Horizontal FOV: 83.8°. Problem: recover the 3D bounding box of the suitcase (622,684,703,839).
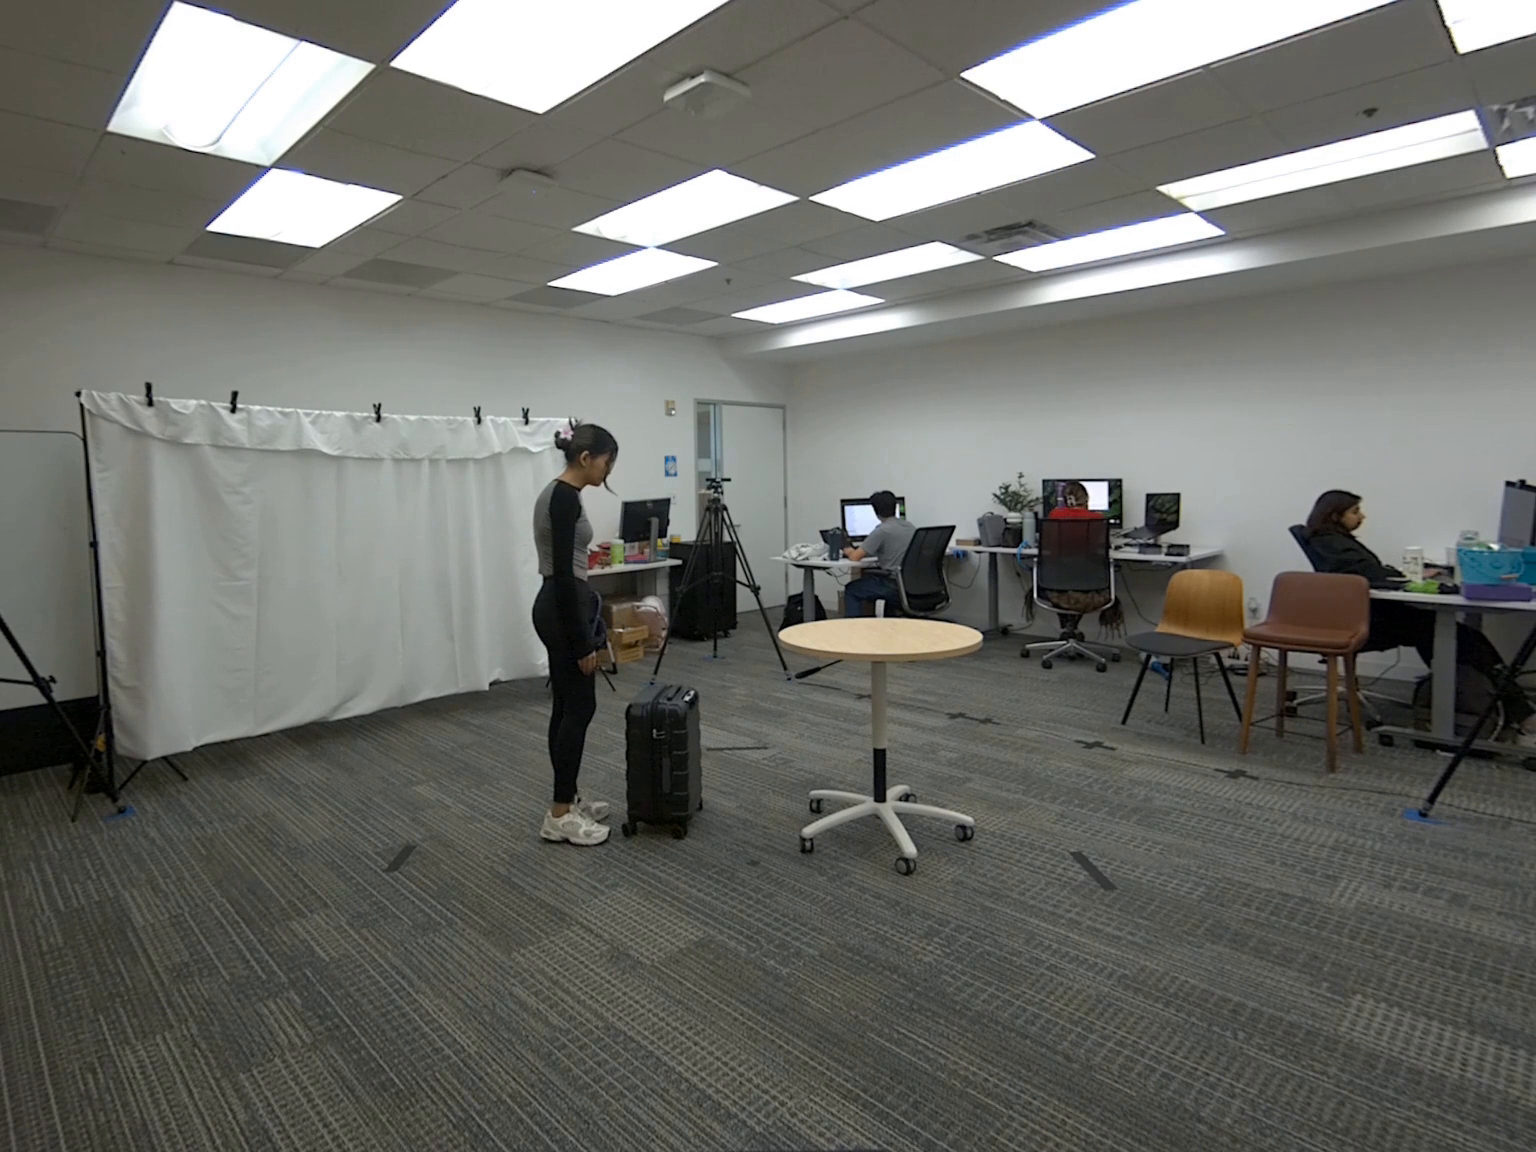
[{"bbox_3d":[-0.427,0.736,3.472,0.250,0.547,0.374,0,5,6],"label":"suitcase"}]
